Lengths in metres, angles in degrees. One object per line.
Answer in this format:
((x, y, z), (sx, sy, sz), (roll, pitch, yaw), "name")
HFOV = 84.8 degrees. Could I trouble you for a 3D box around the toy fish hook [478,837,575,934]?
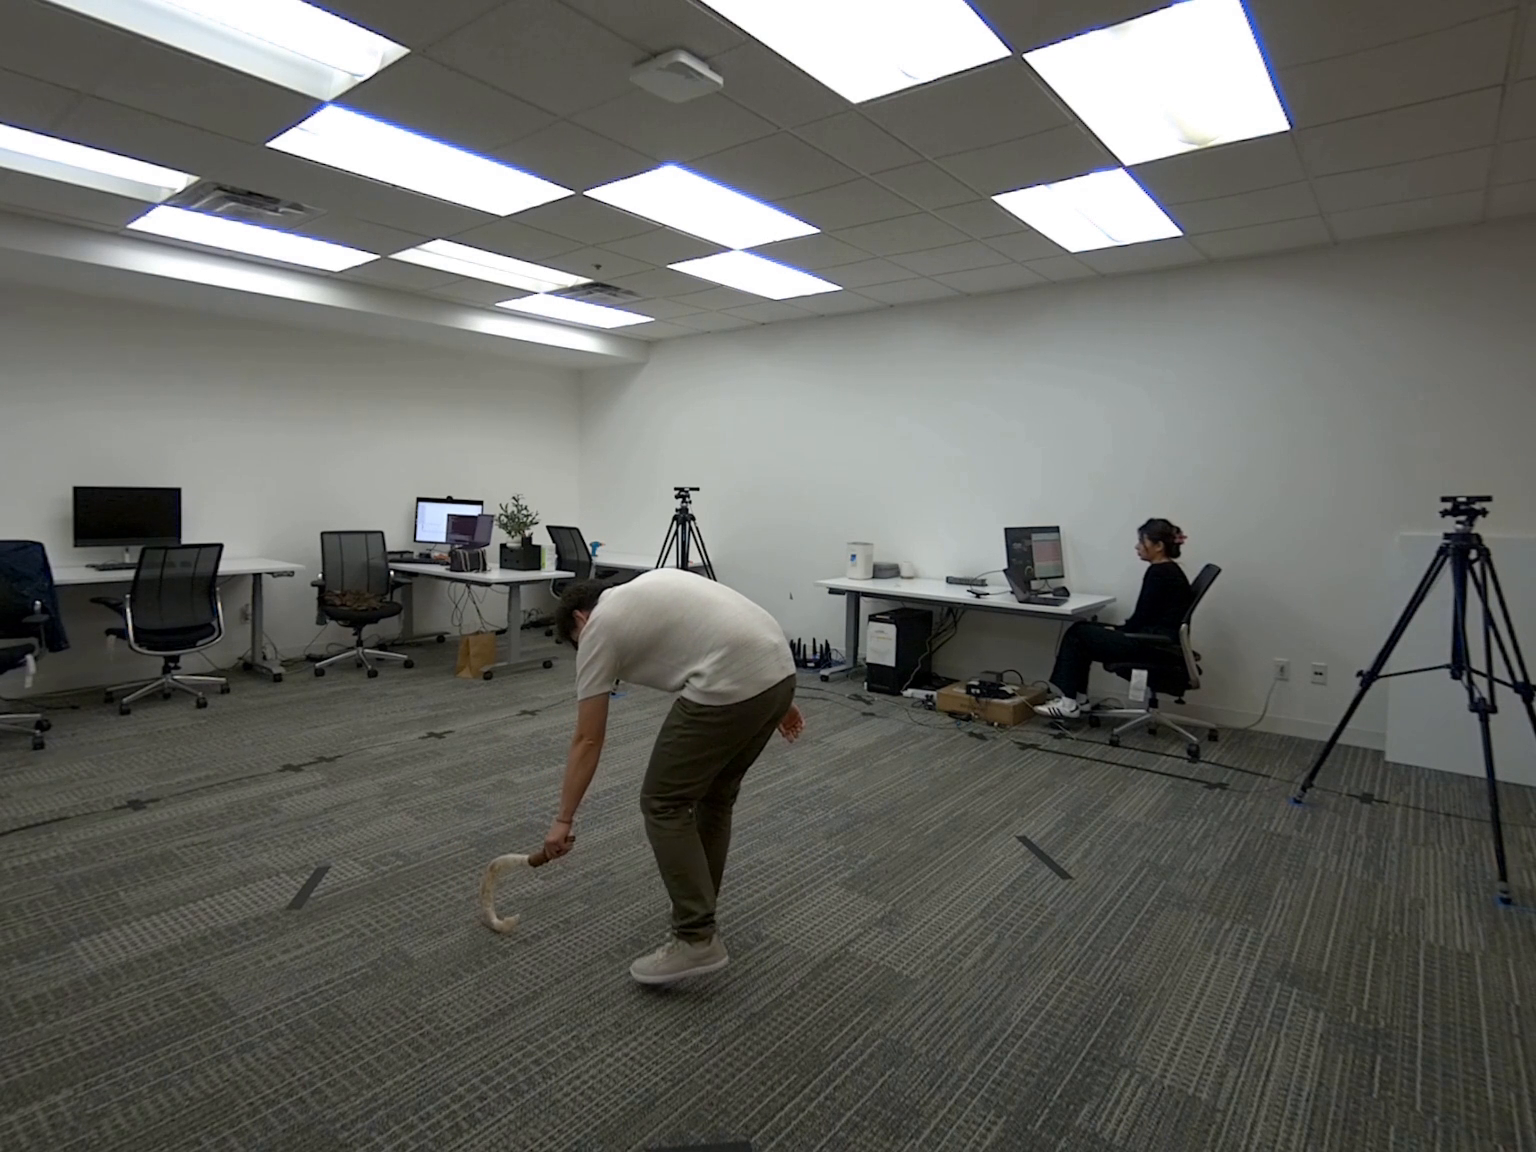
((-0.750, 0.935, 2.594), (0.511, 0.231, 0.046), (-34, -31, 33), "toy fish hook")
